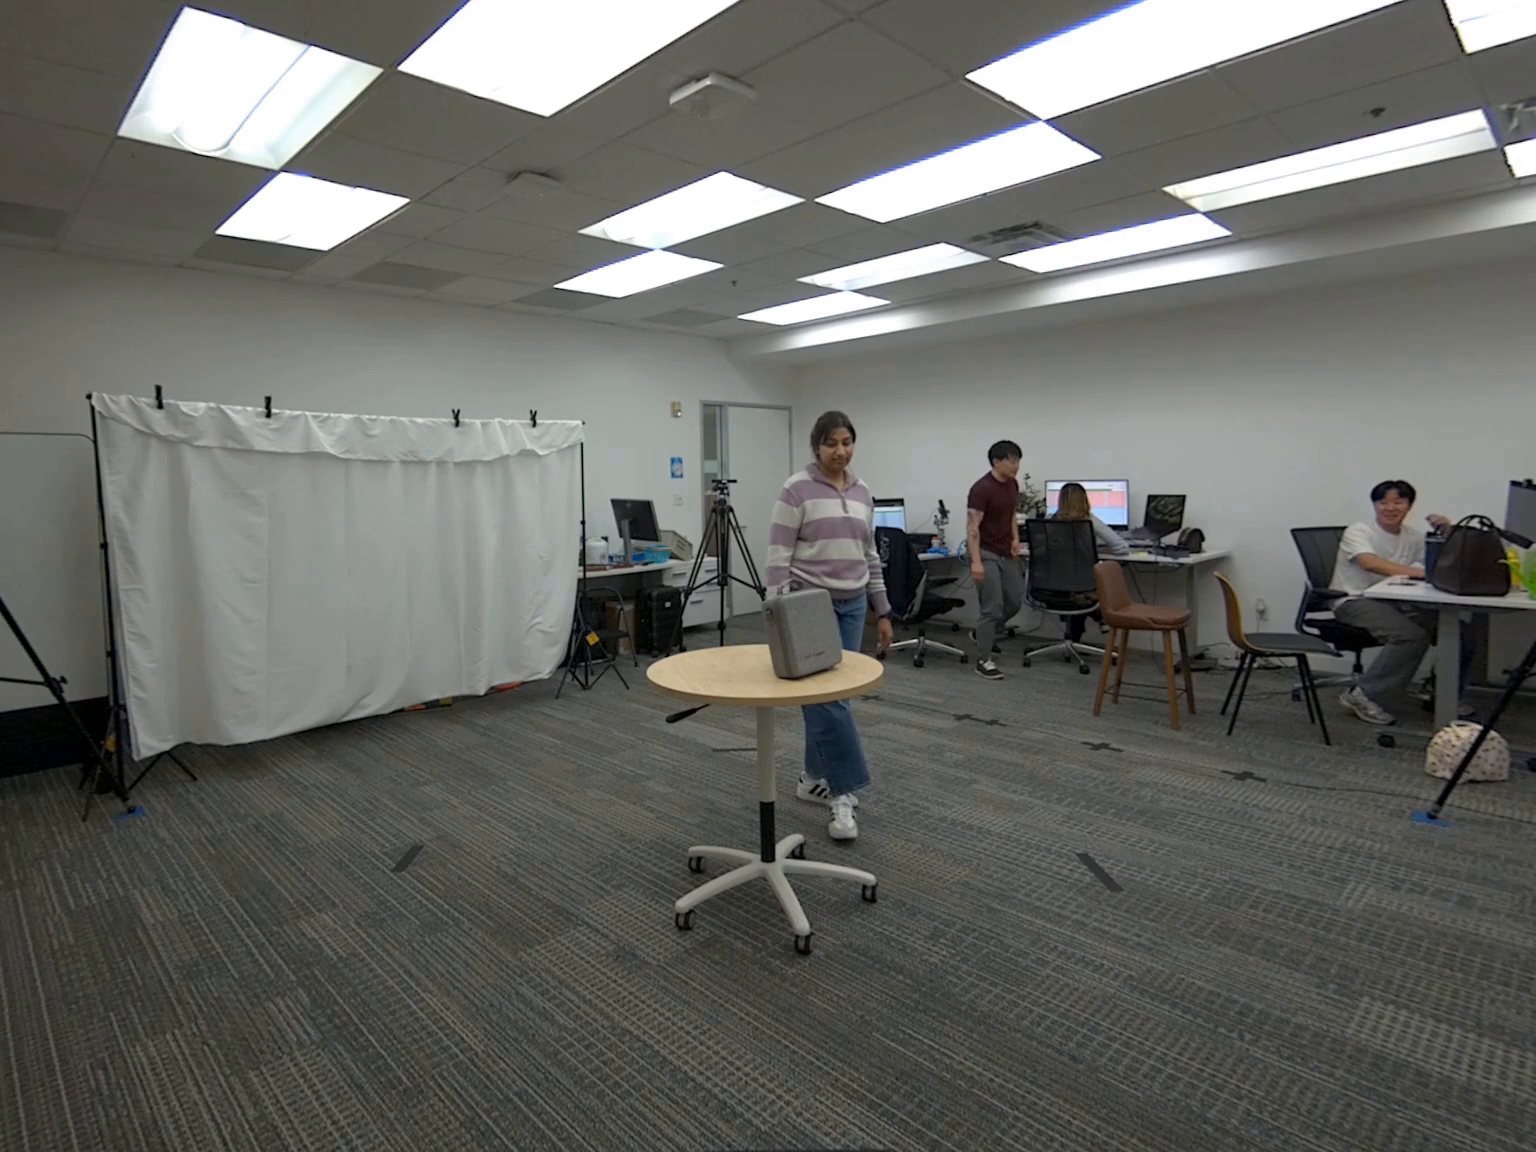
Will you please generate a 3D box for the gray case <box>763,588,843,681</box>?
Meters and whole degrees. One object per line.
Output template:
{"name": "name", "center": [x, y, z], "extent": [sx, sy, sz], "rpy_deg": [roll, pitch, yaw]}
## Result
{"name": "gray case", "center": [0.108, 0.175, 2.694], "extent": [0.106, 0.262, 0.250], "rpy_deg": [-14, -6, 40]}
